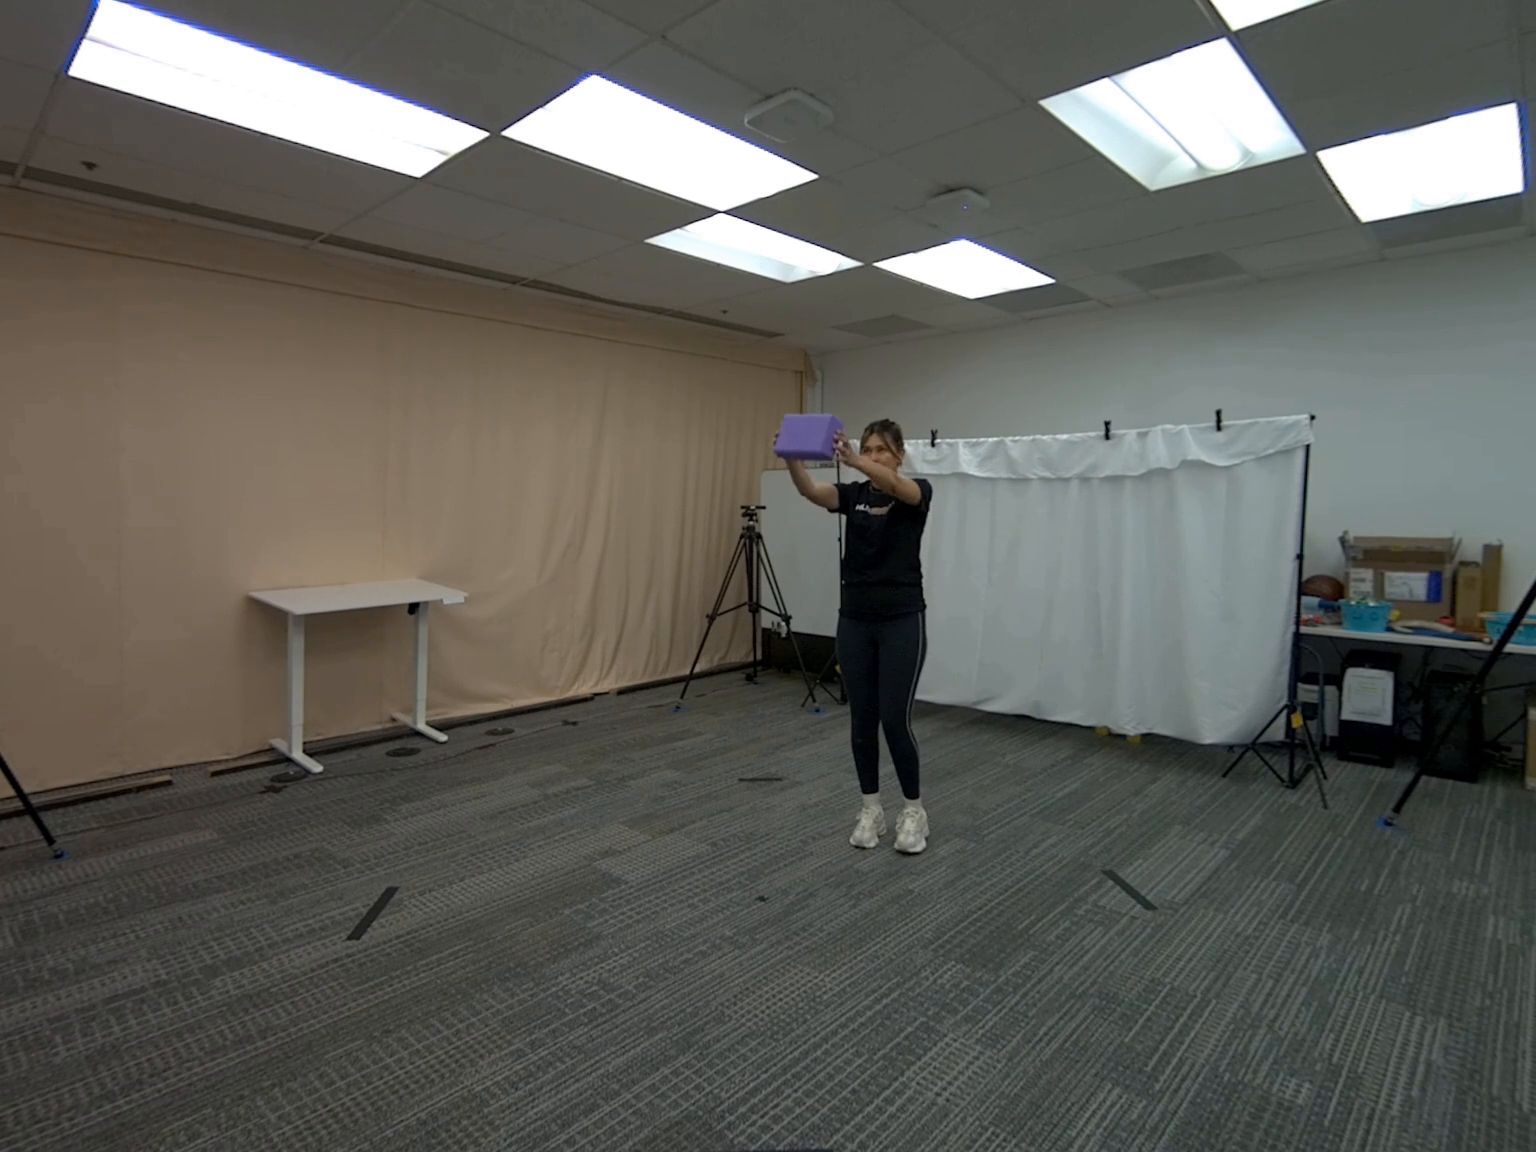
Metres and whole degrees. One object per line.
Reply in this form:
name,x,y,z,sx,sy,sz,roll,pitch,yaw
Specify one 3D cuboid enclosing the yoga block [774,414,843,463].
yoga block,0.152,-0.457,2.948,0.237,0.149,0.074,10,-7,40
